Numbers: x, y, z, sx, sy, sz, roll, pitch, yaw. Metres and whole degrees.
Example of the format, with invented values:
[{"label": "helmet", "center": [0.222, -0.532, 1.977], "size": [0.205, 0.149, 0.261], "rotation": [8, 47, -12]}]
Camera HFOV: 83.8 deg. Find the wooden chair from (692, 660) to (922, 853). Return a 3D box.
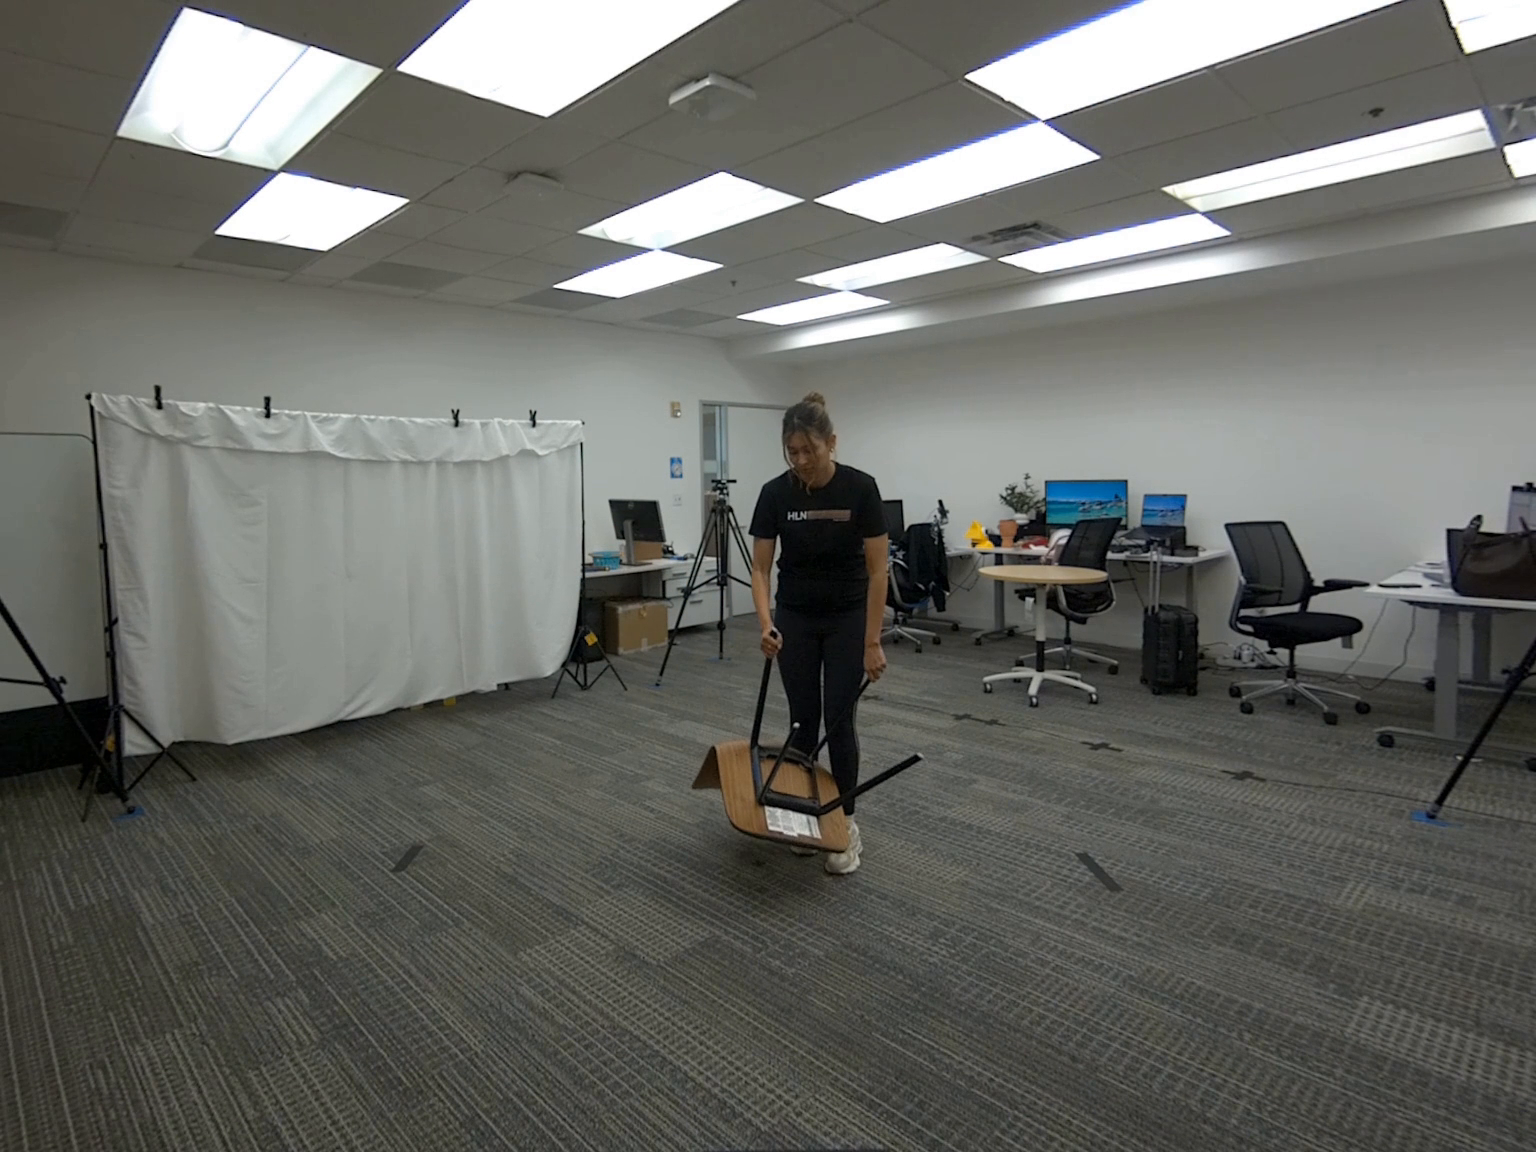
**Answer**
[{"label": "wooden chair", "center": [0.064, 0.707, 2.945], "size": [0.468, 0.870, 0.539], "rotation": [17, 35, -20]}]
